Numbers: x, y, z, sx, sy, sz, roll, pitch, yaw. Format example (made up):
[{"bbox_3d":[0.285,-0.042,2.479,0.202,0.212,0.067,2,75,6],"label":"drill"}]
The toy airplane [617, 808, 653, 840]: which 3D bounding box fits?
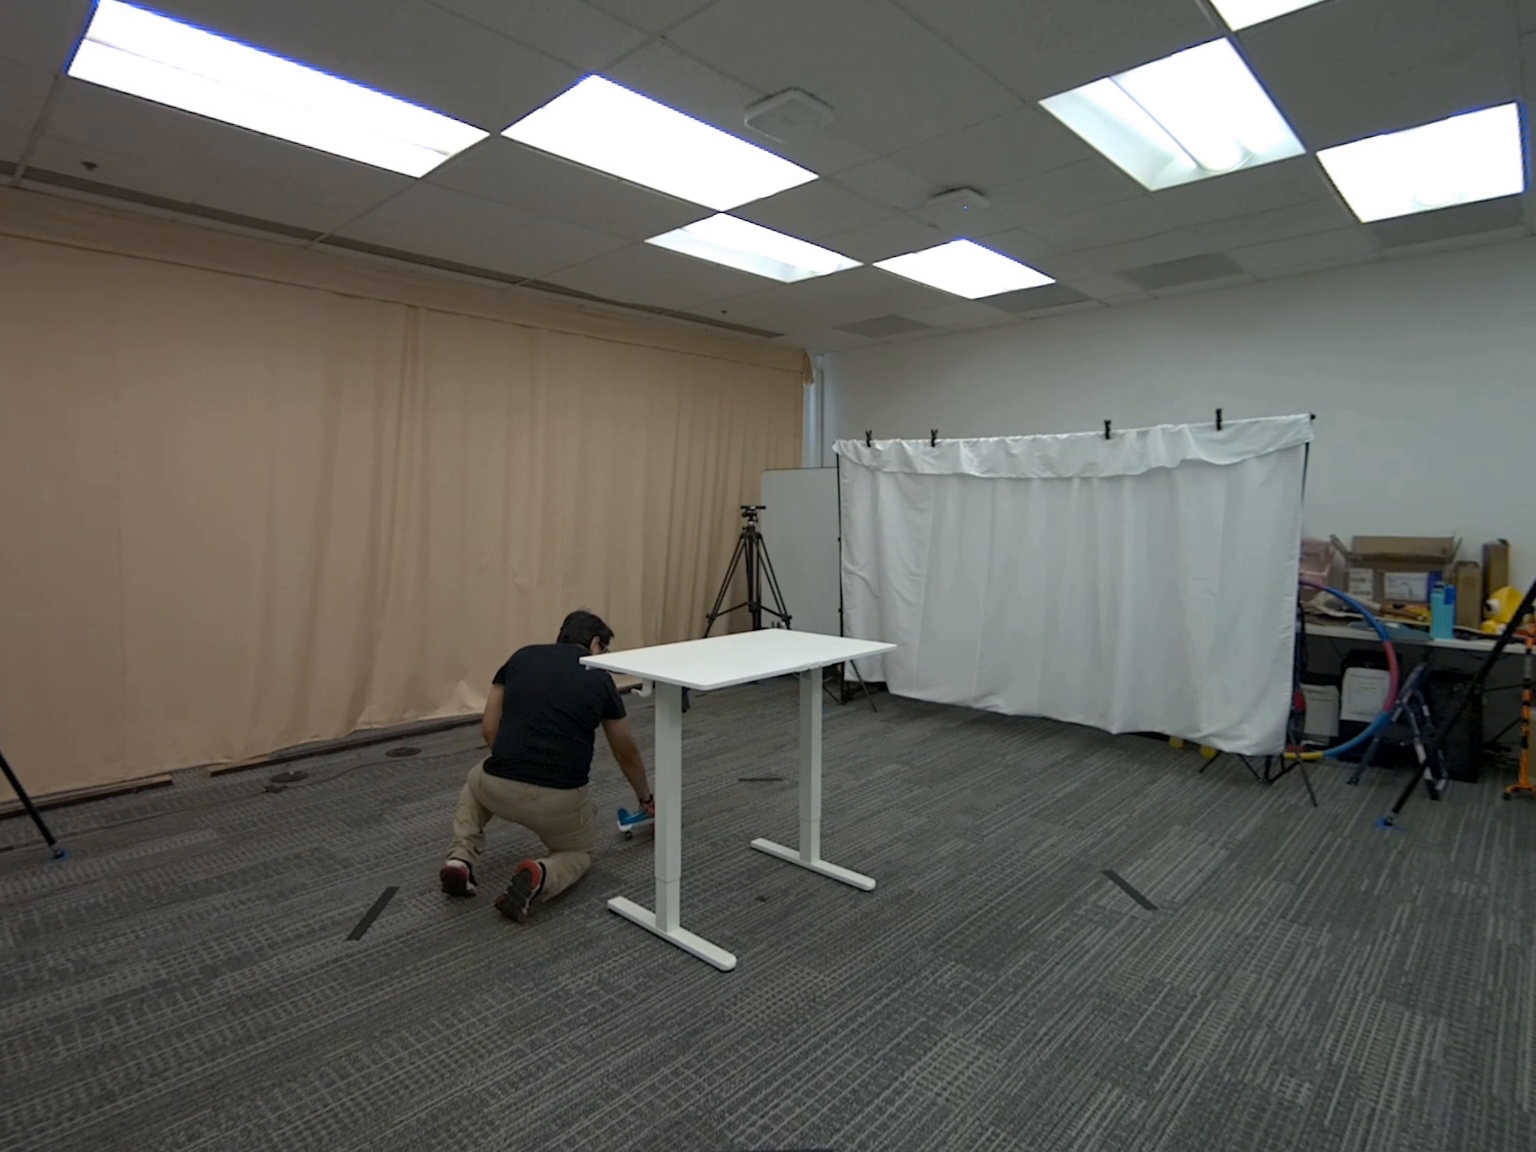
[{"bbox_3d":[-0.494,1.025,3.547,0.251,0.156,0.259,-3,4,-42],"label":"toy airplane"}]
